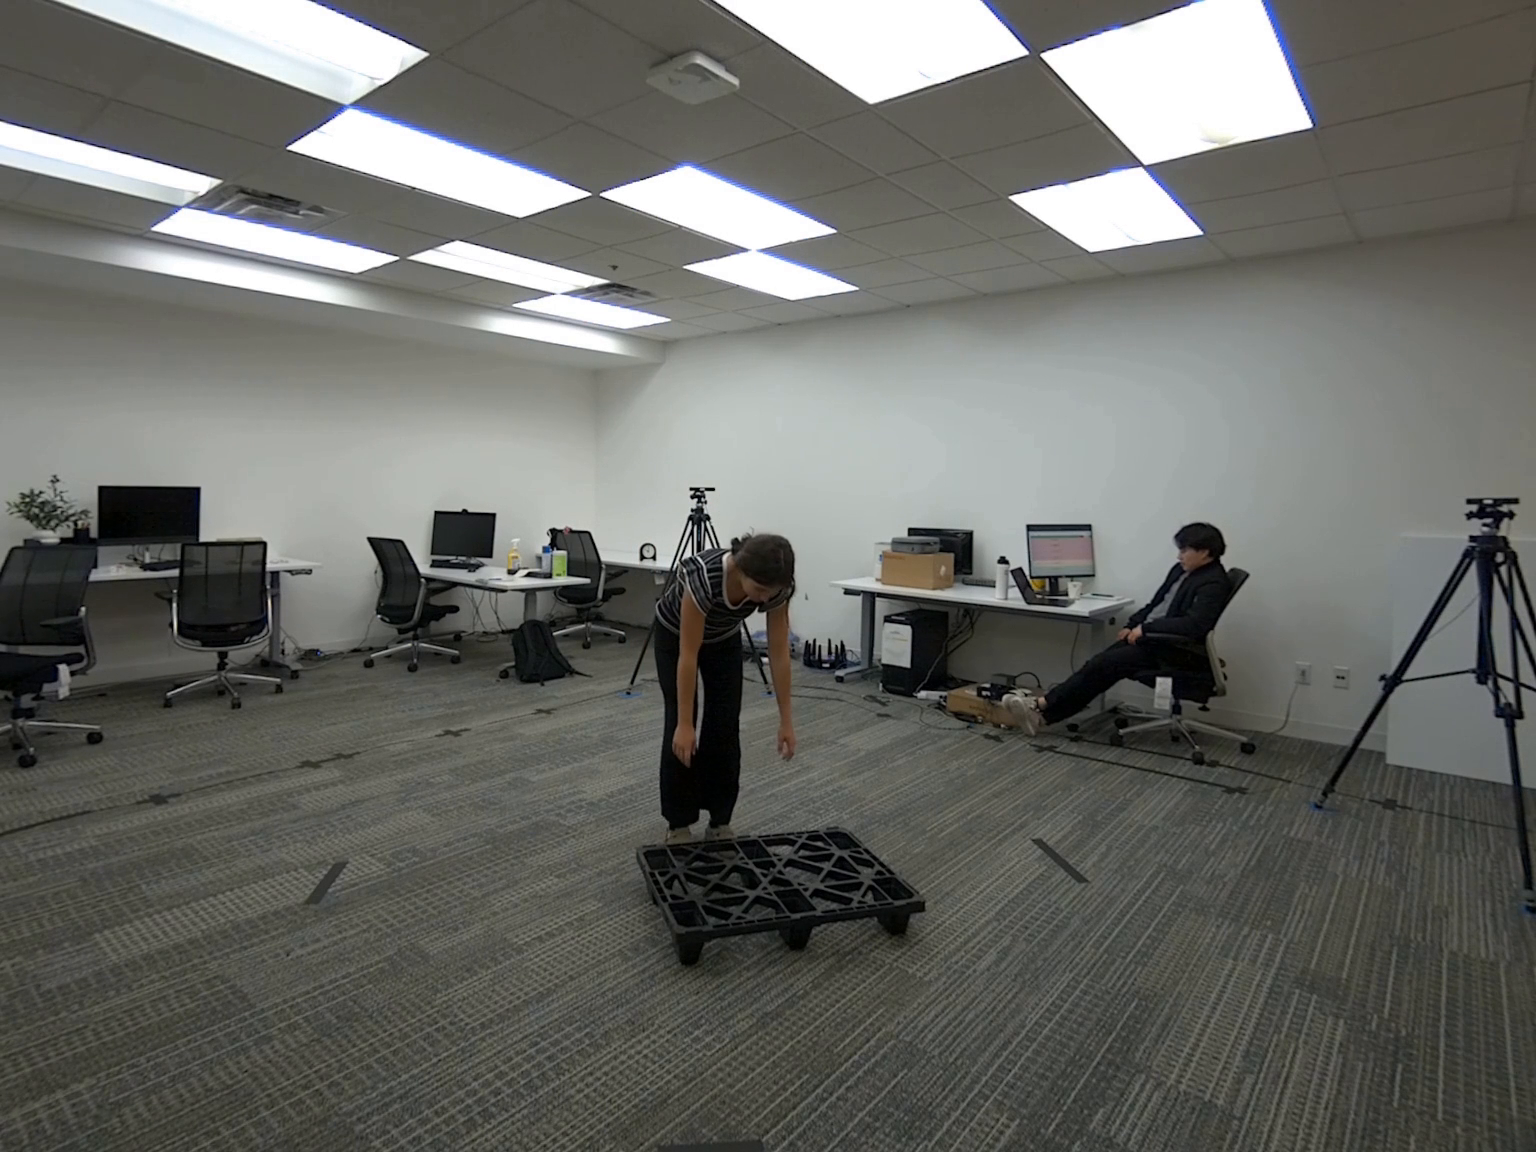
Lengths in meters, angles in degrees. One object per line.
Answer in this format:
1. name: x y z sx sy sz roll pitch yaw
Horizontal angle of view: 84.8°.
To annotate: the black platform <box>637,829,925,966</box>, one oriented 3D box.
1. black platform: 0.007 1.035 2.794 0.791 0.143 0.619 -1 7 -18
